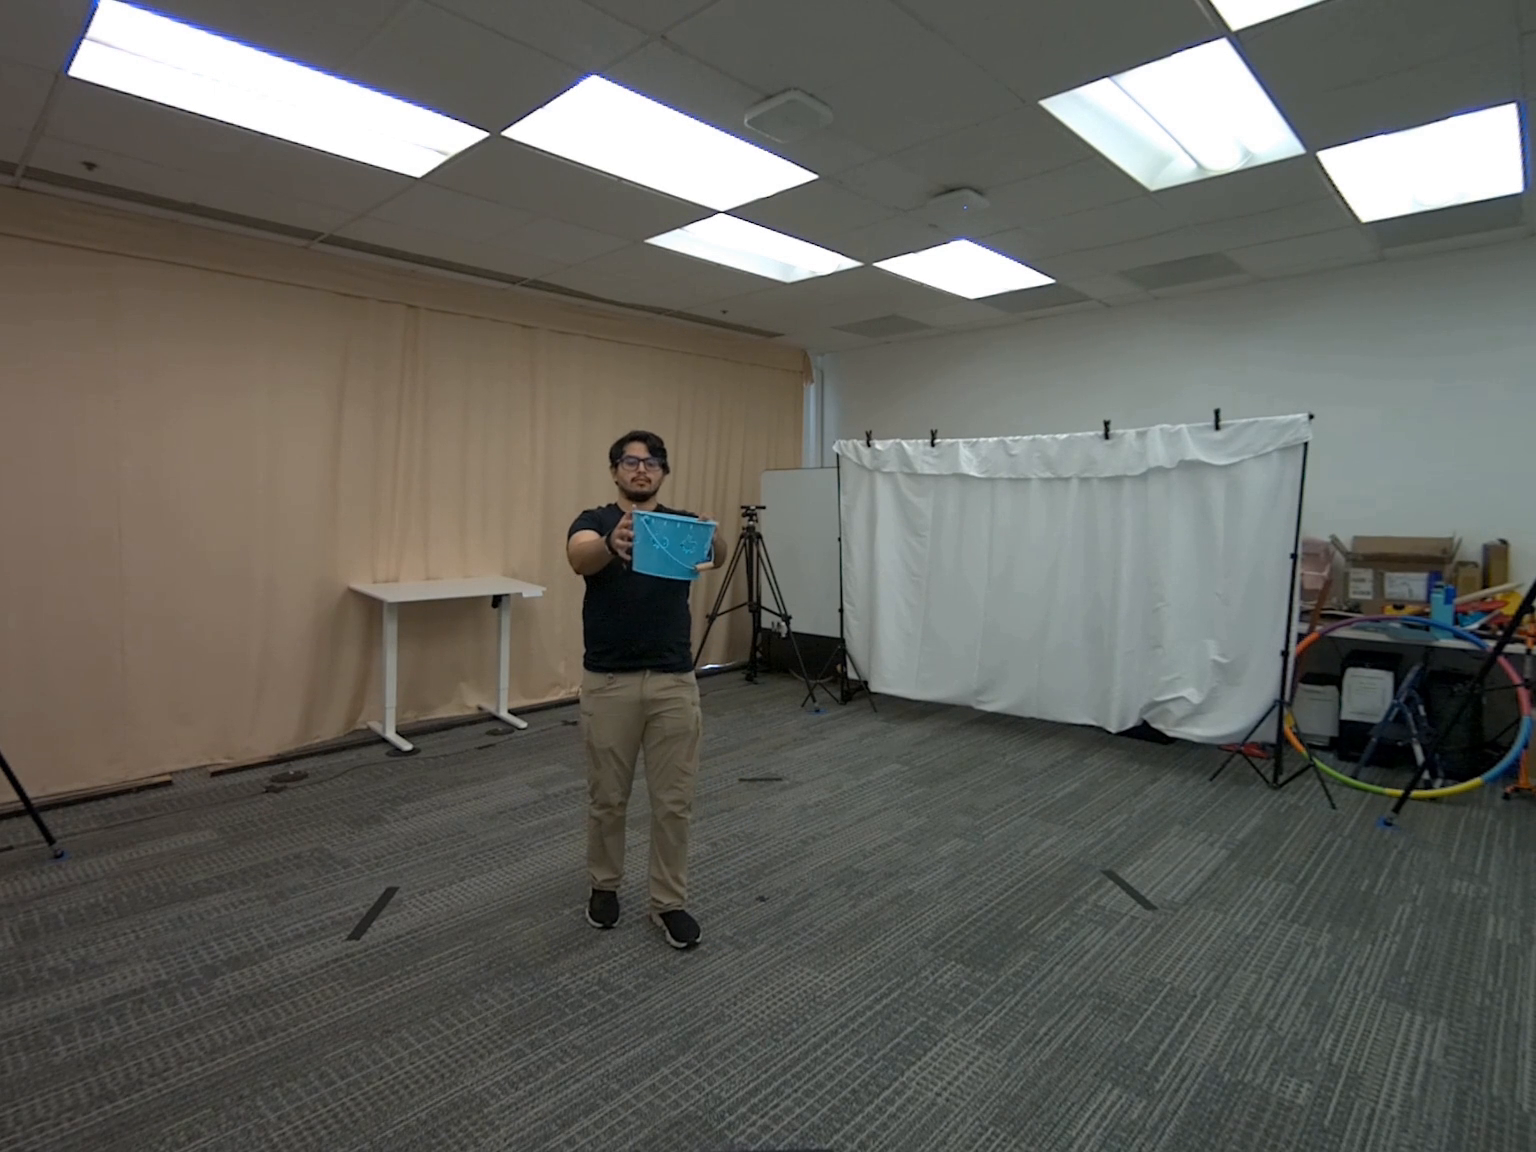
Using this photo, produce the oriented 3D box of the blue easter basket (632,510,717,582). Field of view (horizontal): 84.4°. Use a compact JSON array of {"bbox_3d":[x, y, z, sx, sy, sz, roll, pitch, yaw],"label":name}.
[{"bbox_3d":[-0.264,-0.078,2.200,0.243,0.155,0.244,7,4,-2],"label":"blue easter basket"}]
